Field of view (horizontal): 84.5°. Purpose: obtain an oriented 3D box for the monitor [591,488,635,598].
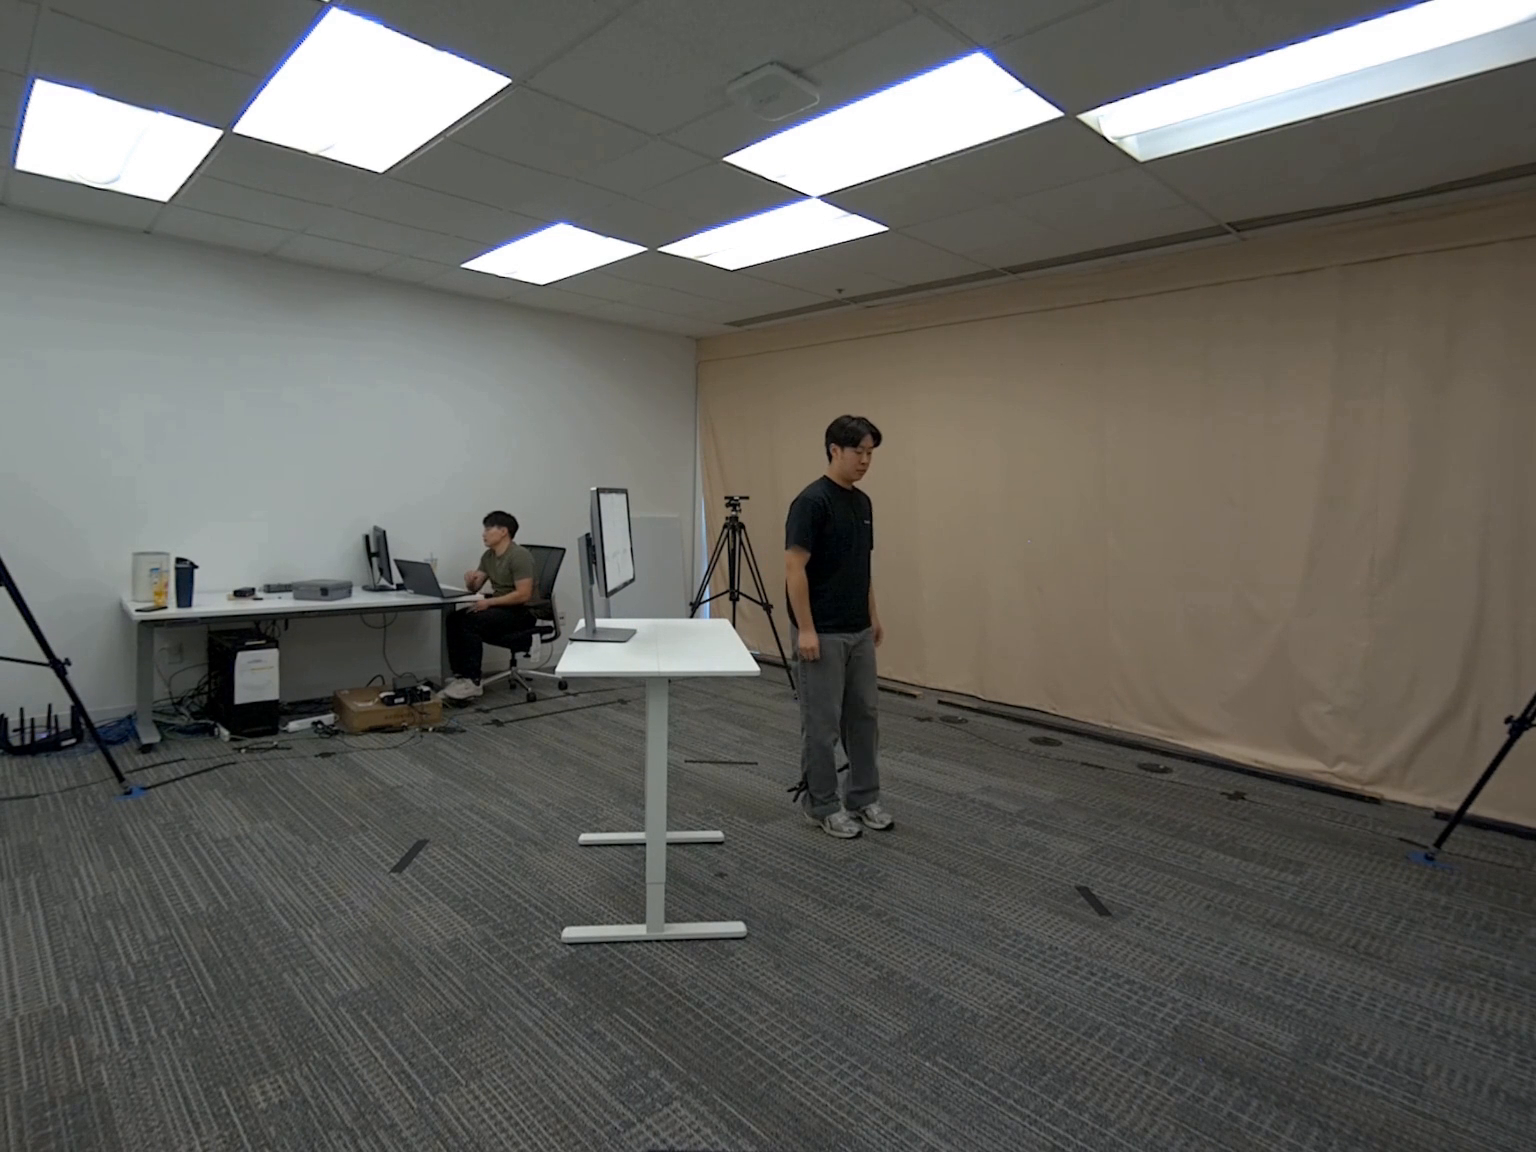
[{"bbox_3d":[-0.594,-0.037,3.021,0.223,0.564,0.562,9,5,2],"label":"monitor"}]
